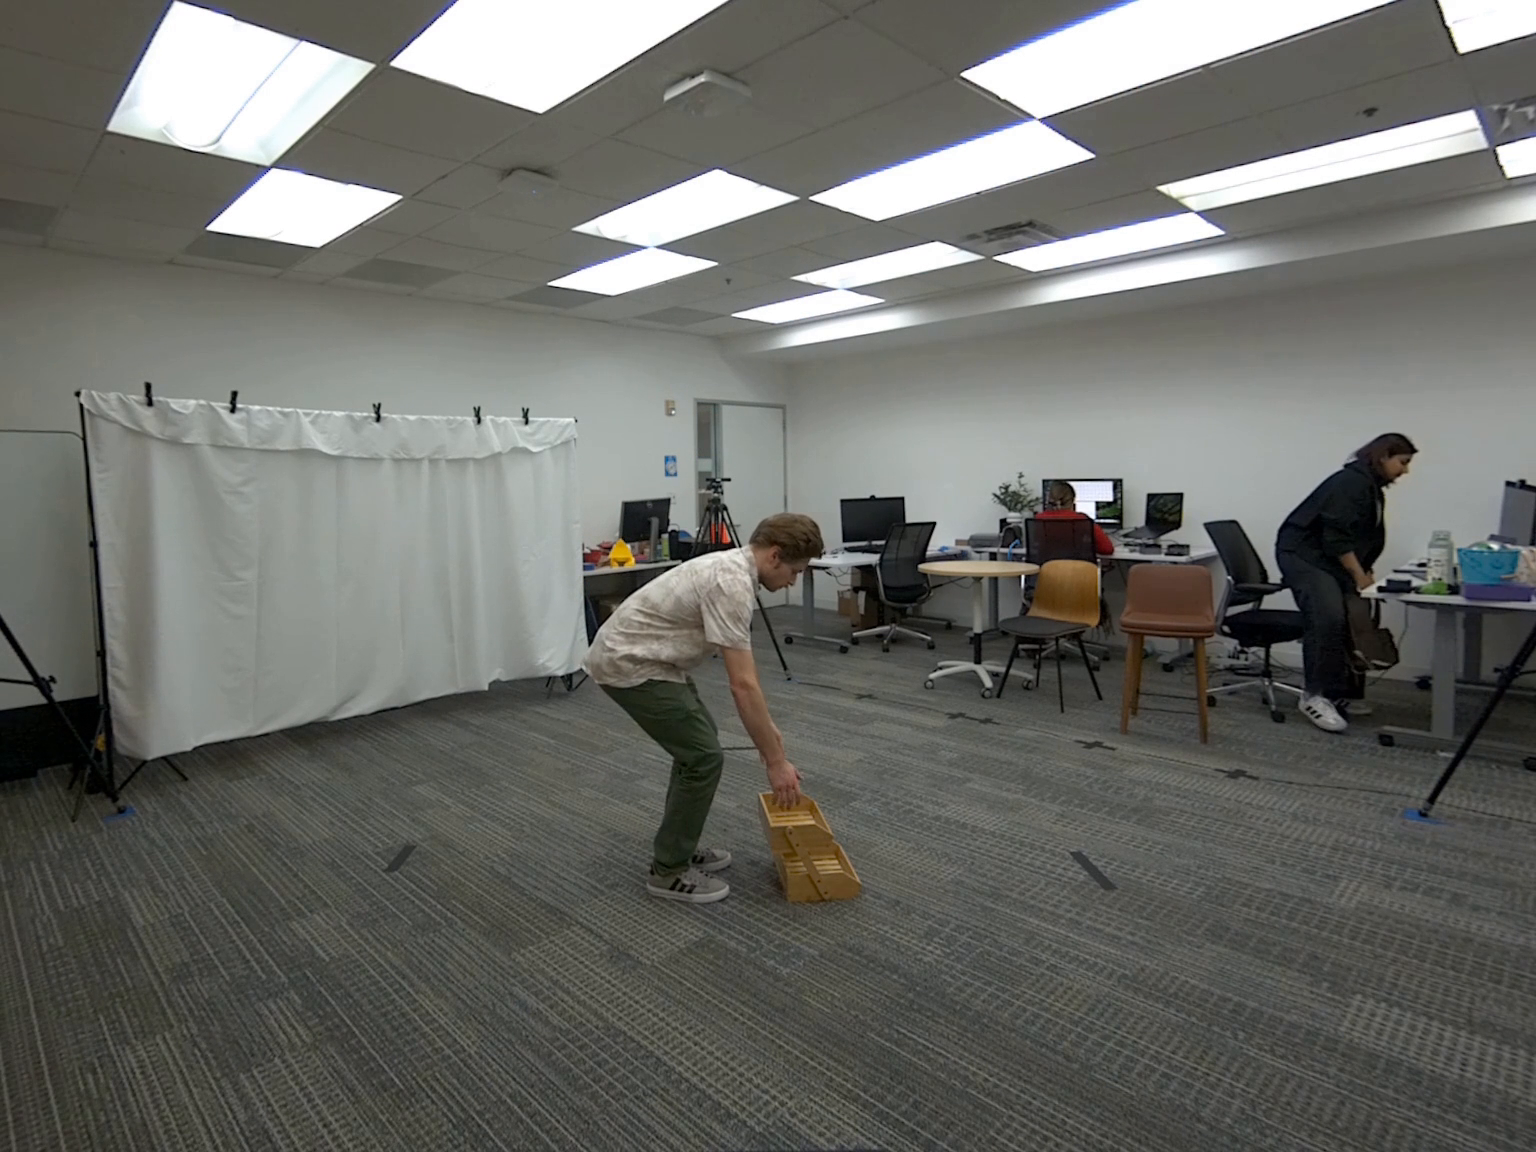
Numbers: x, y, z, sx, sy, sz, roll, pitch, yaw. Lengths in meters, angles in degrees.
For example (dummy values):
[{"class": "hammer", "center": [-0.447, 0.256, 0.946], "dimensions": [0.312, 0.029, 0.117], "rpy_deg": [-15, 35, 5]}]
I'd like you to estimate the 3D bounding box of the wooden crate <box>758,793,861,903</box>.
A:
[{"class": "wooden crate", "center": [0.142, 0.920, 2.956], "dimensions": [0.300, 0.272, 0.328], "rpy_deg": [-2, 5, -7]}]
